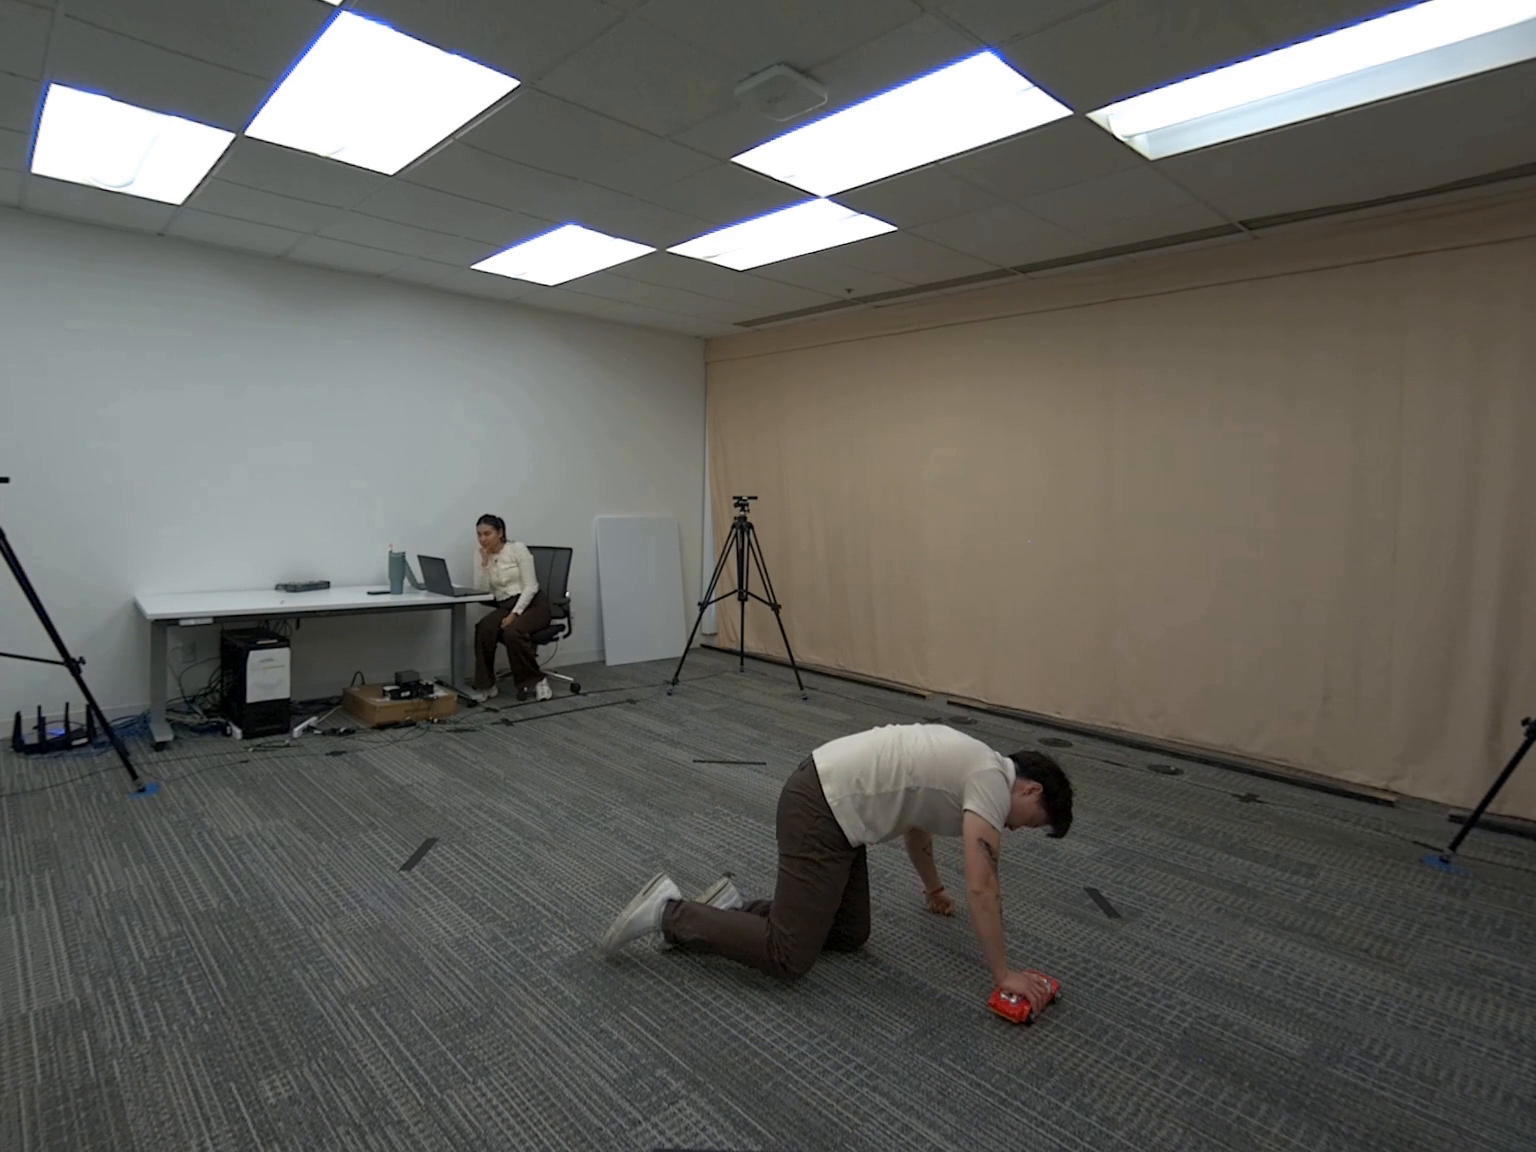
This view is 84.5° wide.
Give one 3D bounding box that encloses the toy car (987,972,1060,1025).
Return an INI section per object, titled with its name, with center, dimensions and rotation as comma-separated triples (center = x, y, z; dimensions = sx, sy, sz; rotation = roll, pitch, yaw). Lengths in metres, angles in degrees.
[toy car]
center = 0.699, 1.166, 2.326
dimensions = 0.248, 0.083, 0.134
rotation = 9, 0, -43
